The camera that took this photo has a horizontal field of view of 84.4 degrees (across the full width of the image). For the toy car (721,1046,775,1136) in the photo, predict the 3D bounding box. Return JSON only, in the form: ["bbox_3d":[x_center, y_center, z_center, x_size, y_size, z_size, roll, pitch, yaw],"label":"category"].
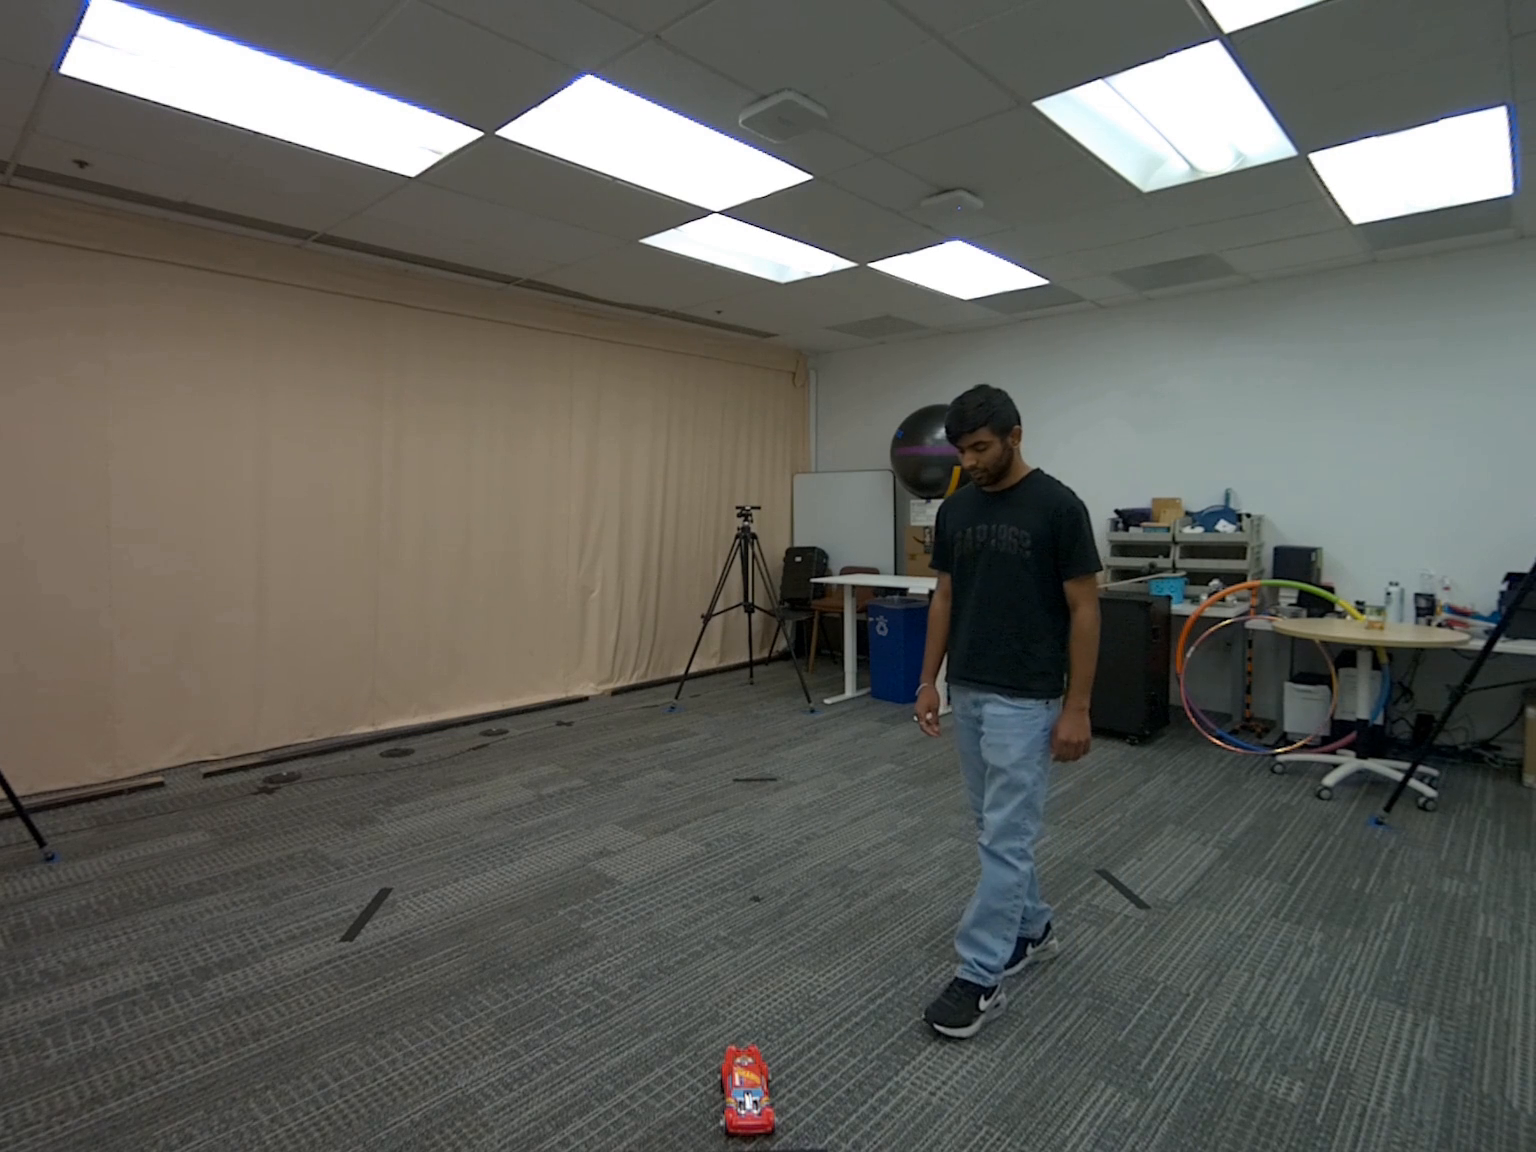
[{"bbox_3d":[-0.046,1.206,1.954,0.130,0.082,0.257,-1,15,-3],"label":"toy car"}]
